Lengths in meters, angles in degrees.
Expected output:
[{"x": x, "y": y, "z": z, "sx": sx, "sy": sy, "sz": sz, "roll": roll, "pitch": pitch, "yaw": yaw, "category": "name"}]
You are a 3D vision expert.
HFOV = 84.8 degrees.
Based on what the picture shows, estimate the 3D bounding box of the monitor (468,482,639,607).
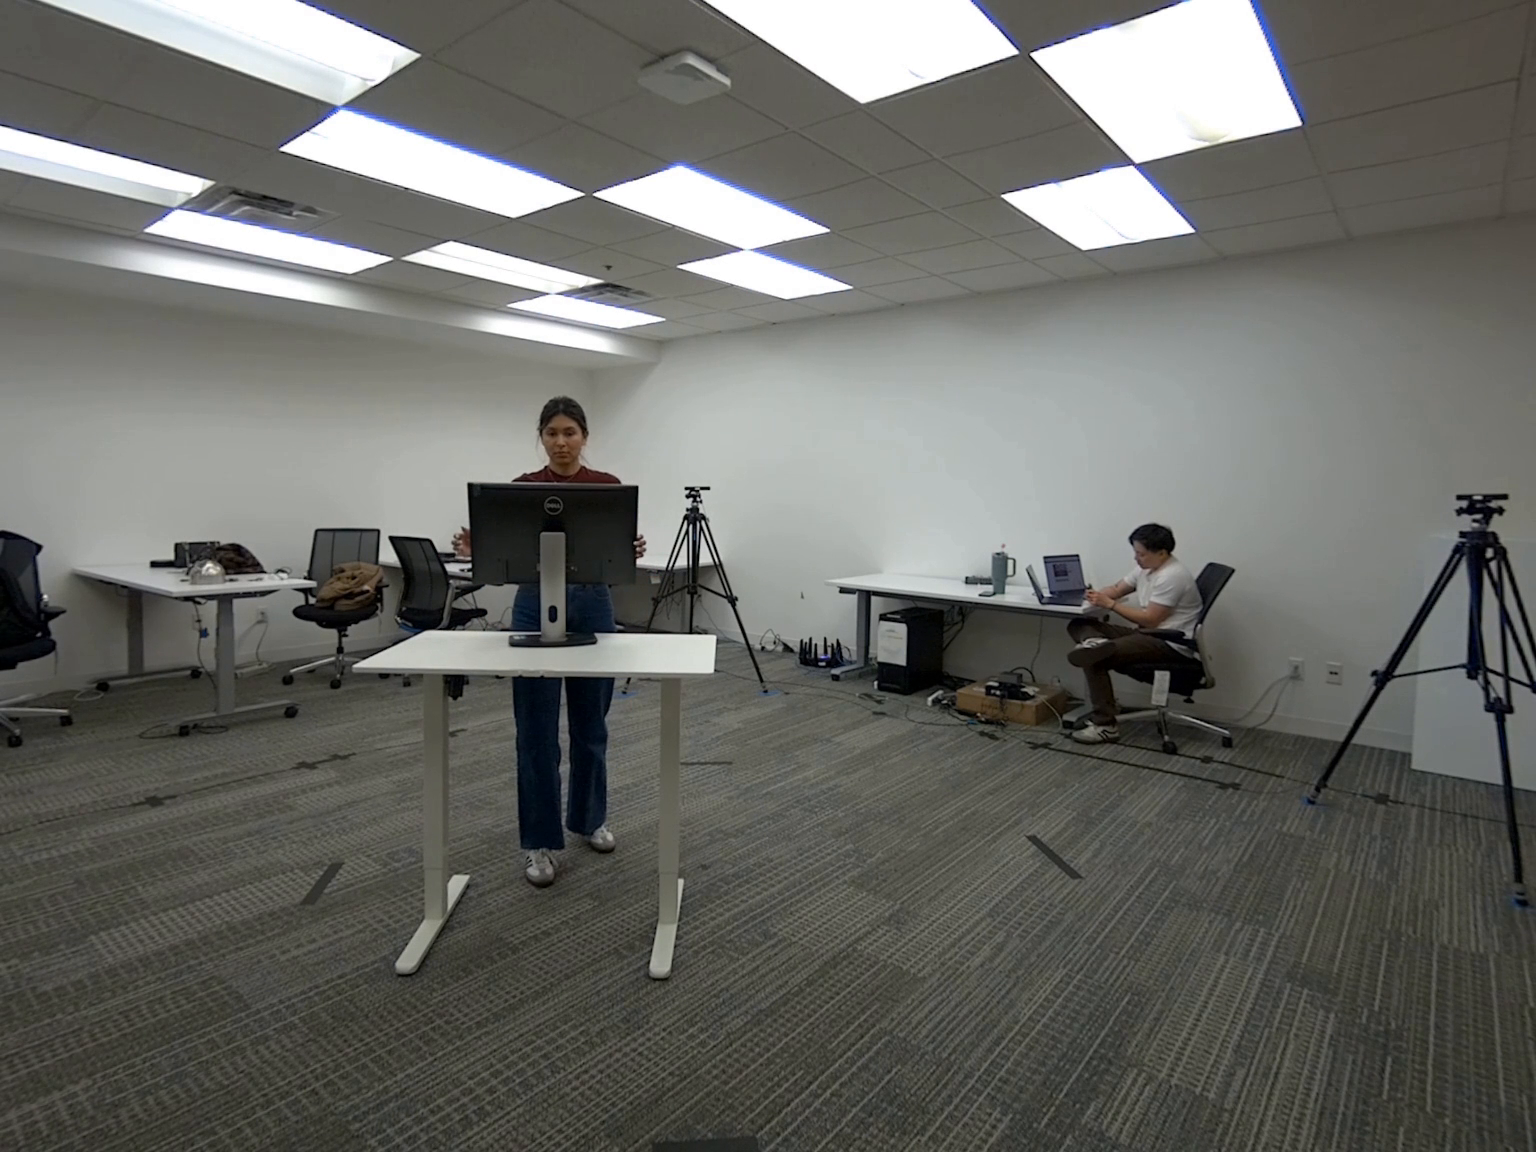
[{"x": -0.705, "y": -0.037, "z": 2.733, "sx": 0.533, "sy": 0.519, "sz": 0.190, "roll": -1, "pitch": 6, "yaw": -10, "category": "monitor"}]
